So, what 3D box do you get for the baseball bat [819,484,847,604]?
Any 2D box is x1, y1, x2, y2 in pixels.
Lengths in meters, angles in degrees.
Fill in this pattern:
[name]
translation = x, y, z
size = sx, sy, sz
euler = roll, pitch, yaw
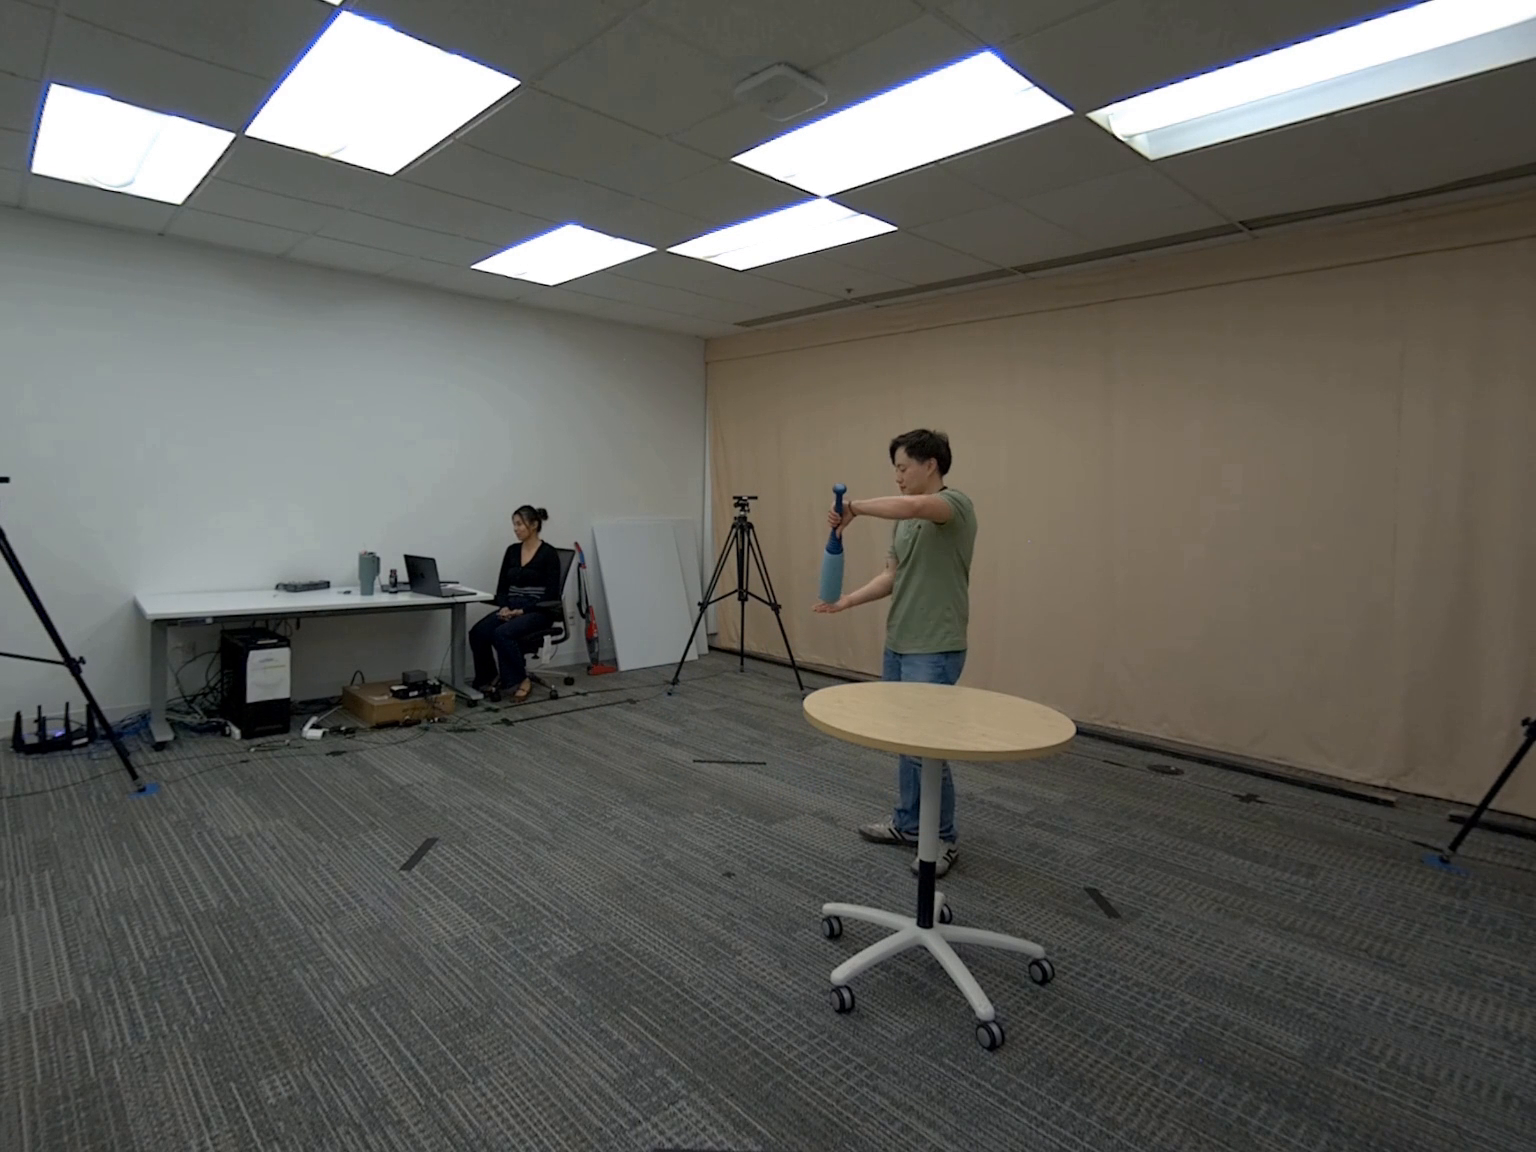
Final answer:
[baseball bat]
translation = 0.252, -0.112, 3.169
size = 0.089, 0.531, 0.091
euler = -1, 41, 0
